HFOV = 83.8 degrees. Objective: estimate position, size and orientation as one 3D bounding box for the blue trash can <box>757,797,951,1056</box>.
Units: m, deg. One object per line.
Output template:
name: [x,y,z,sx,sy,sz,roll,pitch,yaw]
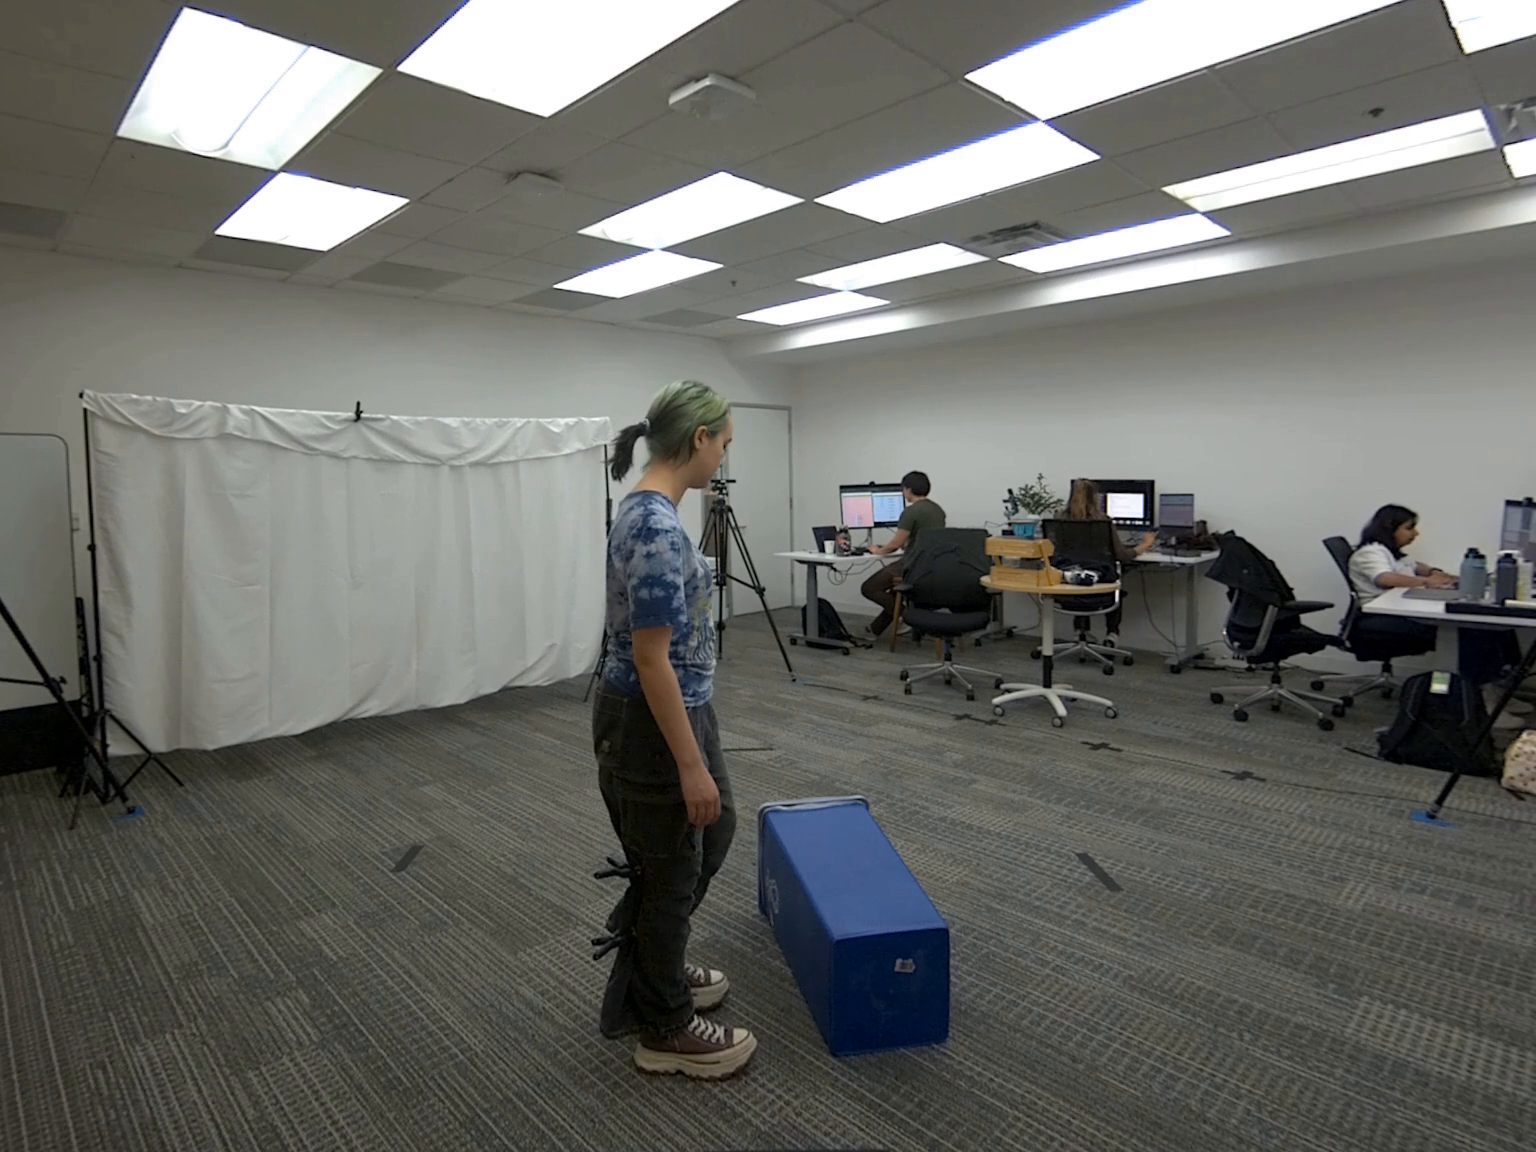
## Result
blue trash can: [0.229,0.945,2.424,0.374,0.372,0.726,-2,8,-12]
